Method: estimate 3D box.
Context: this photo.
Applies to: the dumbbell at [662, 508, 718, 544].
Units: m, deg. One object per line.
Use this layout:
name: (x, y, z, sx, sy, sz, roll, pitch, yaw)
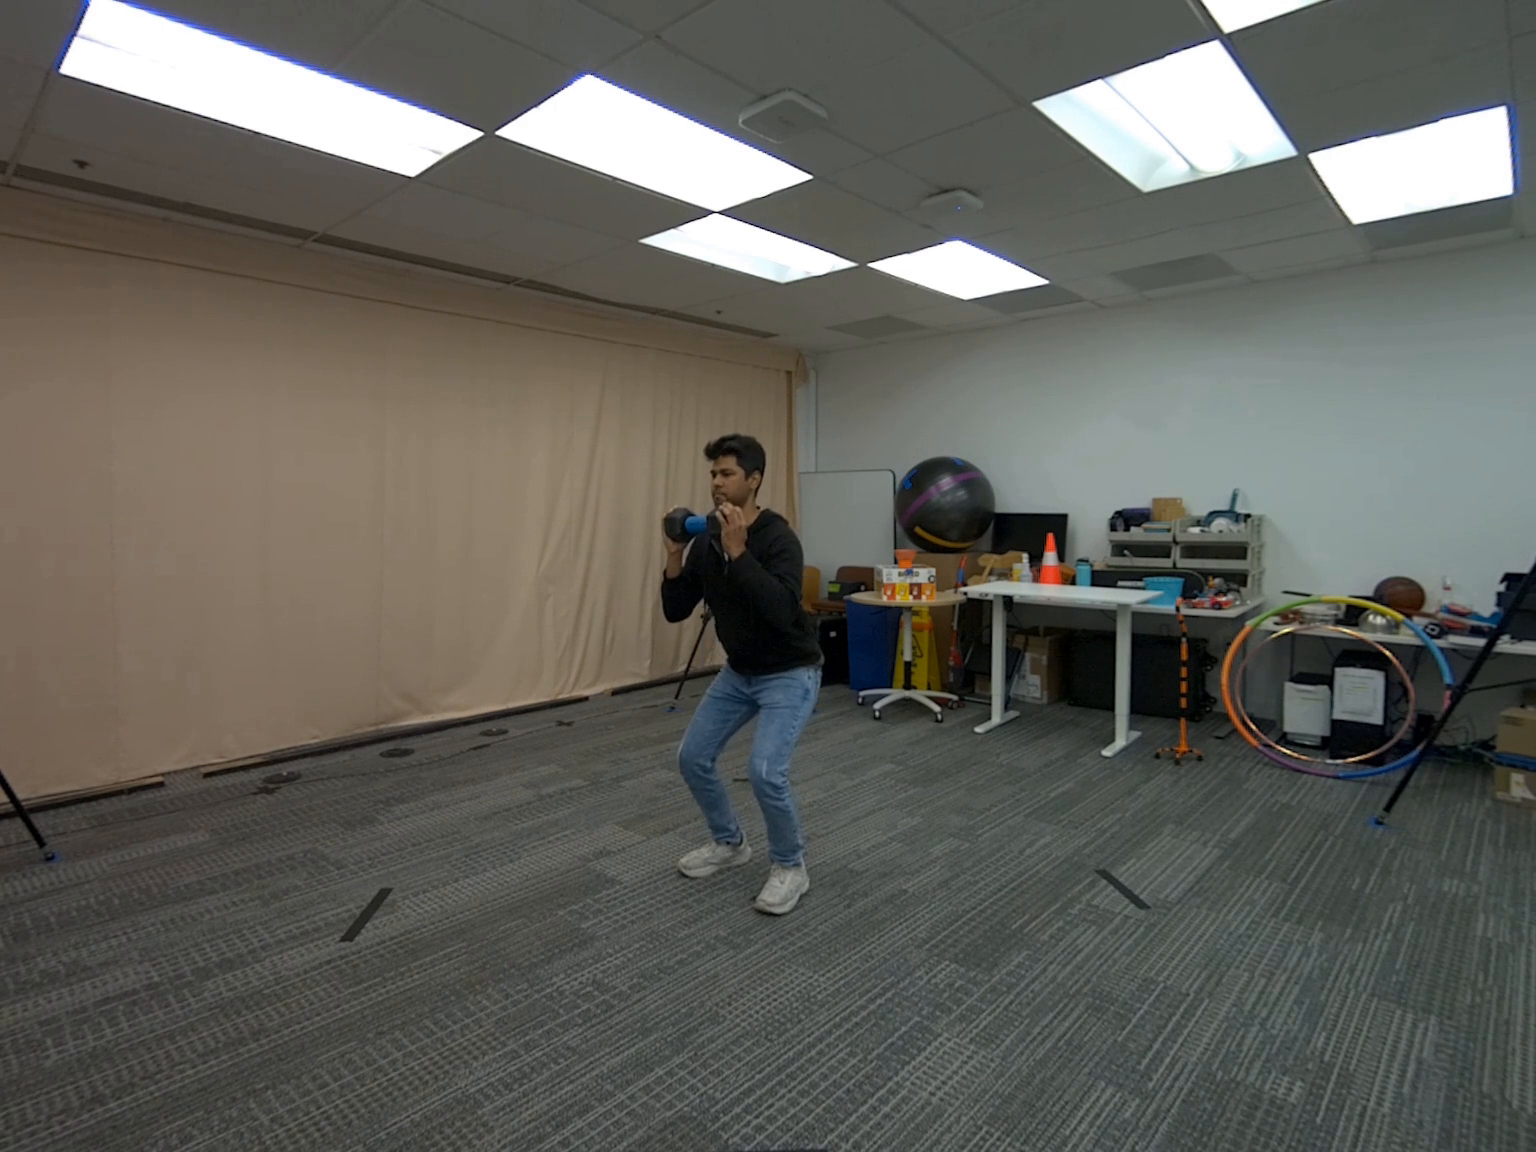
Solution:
dumbbell: (-0.216, -0.168, 2.890, 0.105, 0.122, 0.303, -7, 6, -44)
